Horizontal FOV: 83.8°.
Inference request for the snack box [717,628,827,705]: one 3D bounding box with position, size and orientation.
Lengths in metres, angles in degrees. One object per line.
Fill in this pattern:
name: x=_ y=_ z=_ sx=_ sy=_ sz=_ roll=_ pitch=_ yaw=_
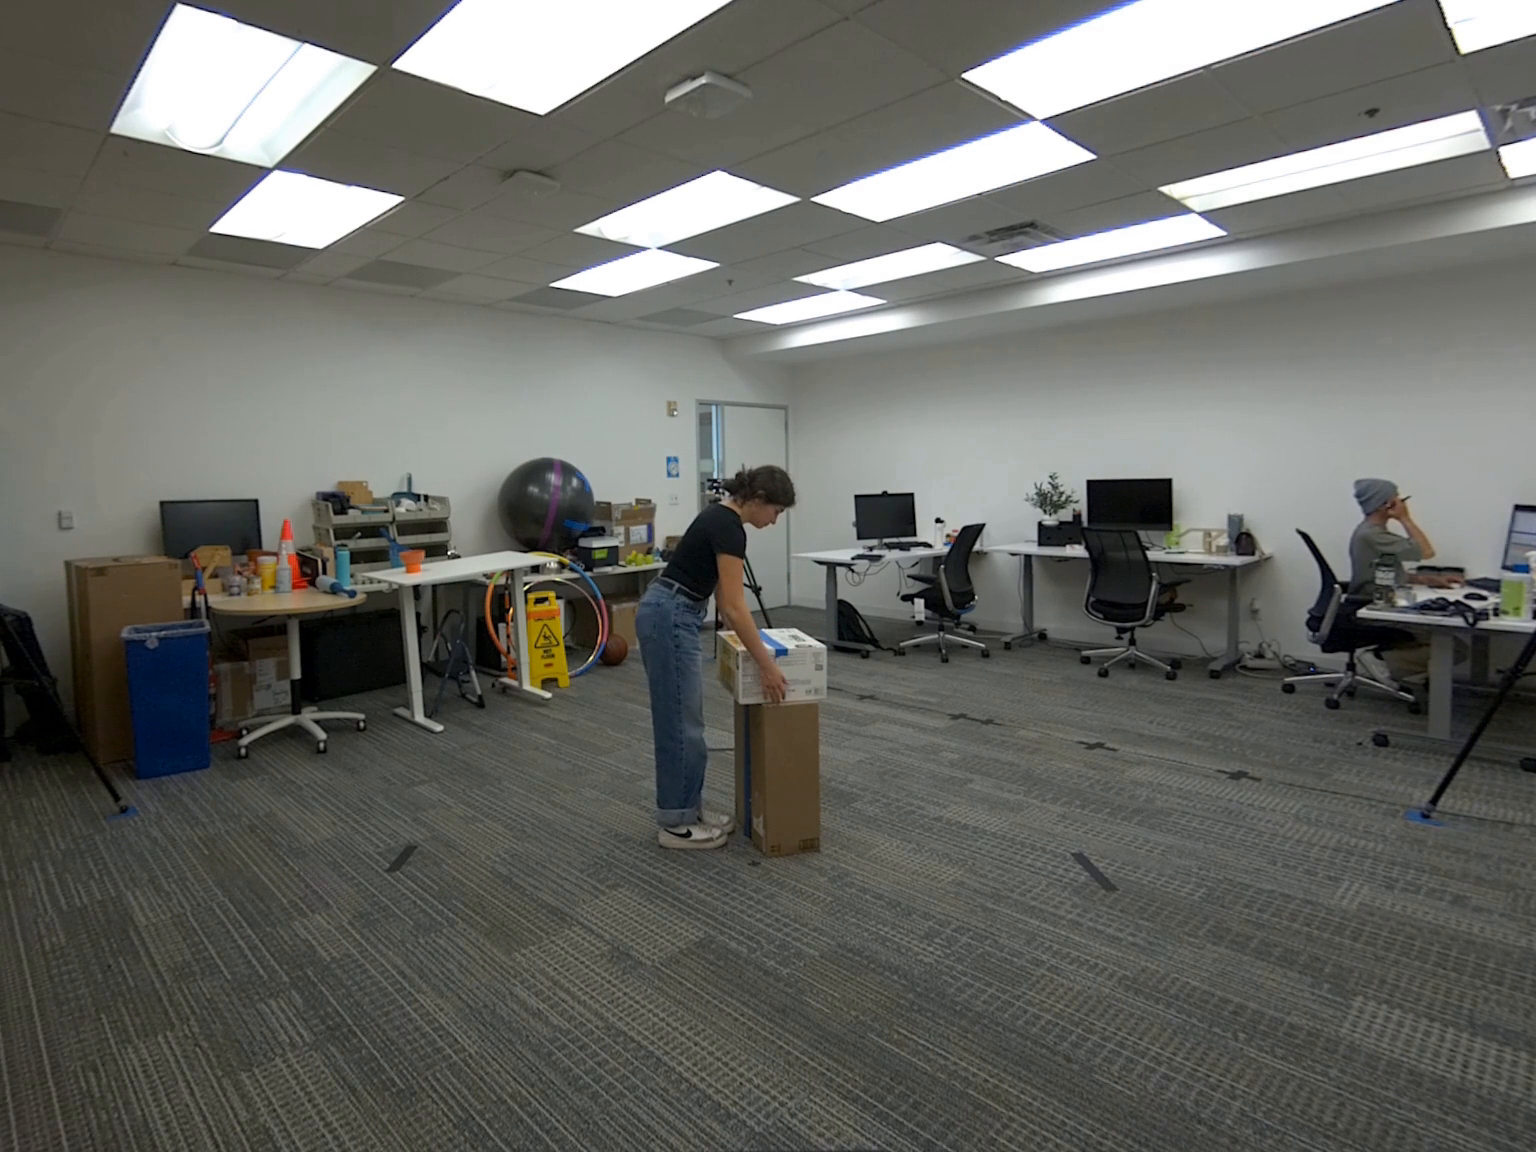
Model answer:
snack box: x=0.002 y=0.345 z=3.358 sx=0.336 sy=0.205 sz=0.412 roll=-2 pitch=6 yaw=-14
